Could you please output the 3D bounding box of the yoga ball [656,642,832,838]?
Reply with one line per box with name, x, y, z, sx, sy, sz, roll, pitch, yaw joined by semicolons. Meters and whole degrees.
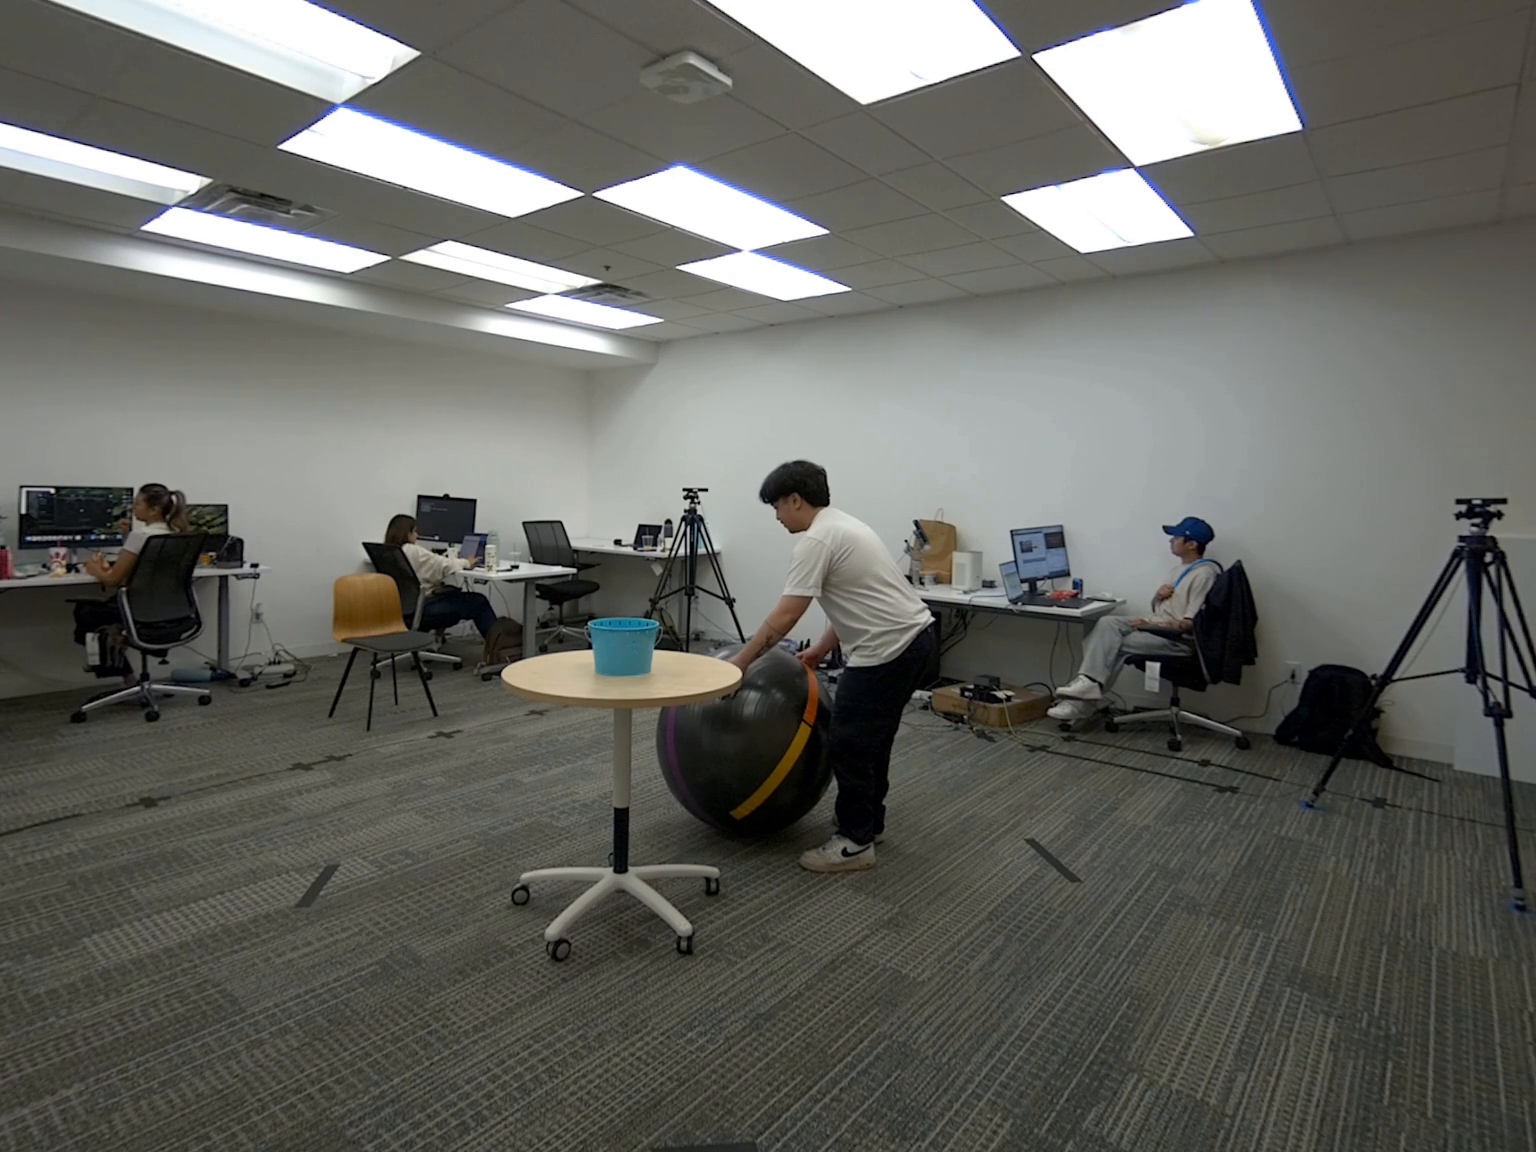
yoga ball;-0.096;0.670;3.508;0.757;0.756;0.761;1;4;-2
